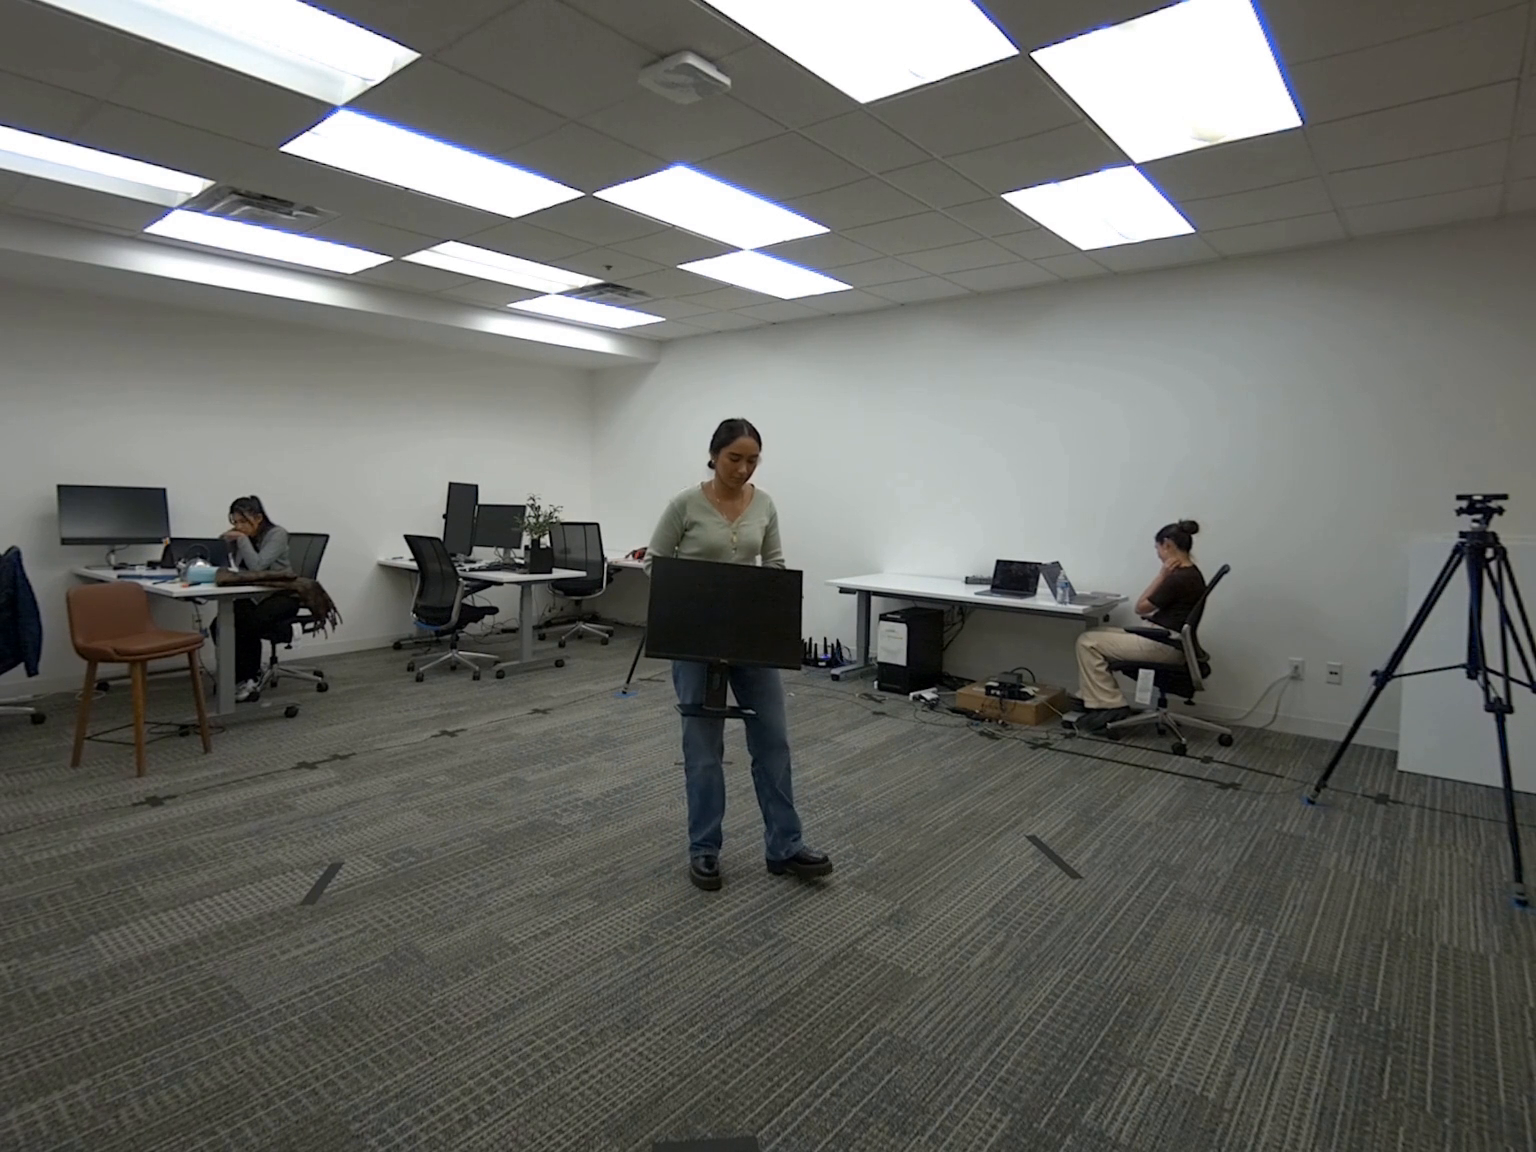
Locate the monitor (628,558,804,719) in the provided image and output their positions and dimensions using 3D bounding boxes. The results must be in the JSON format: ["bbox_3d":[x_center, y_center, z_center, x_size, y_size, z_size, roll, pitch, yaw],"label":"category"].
[{"bbox_3d":[-0.161,0.208,2.924,0.524,0.516,0.176,6,0,-9],"label":"monitor"}]
